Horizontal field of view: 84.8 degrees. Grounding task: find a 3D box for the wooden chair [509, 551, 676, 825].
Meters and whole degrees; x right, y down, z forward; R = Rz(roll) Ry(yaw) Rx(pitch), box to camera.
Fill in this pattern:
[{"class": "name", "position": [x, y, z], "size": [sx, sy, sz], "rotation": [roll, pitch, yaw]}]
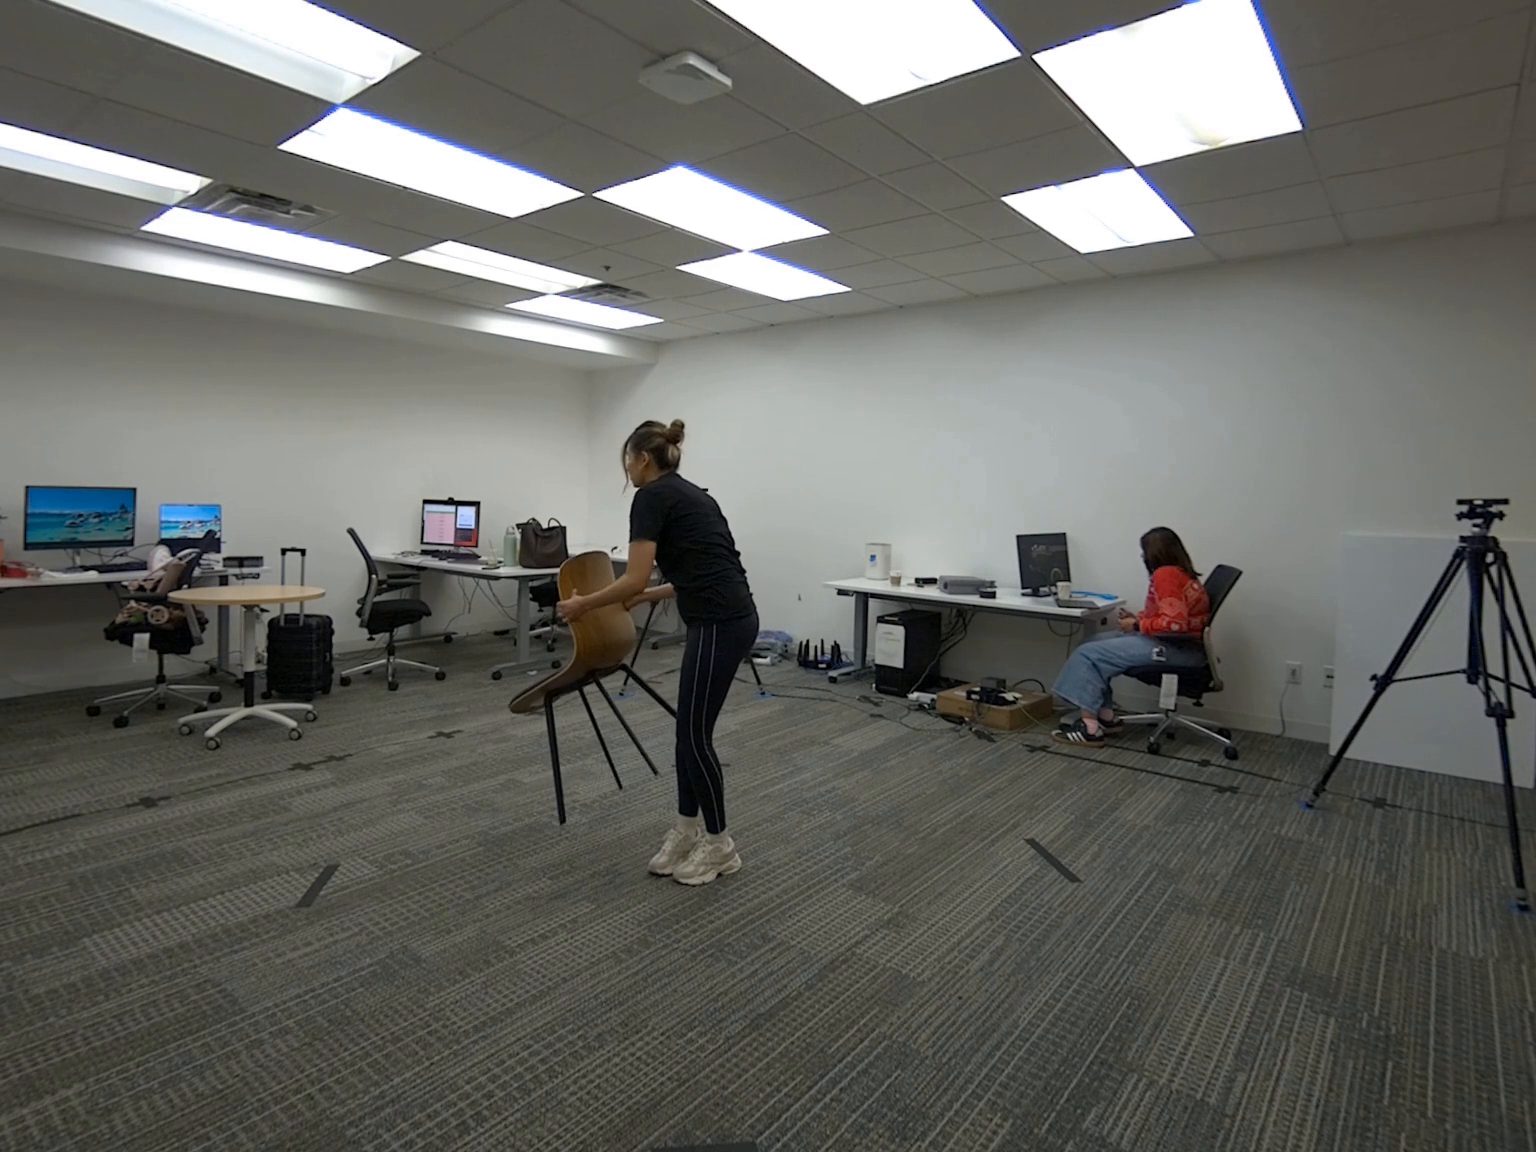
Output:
[{"class": "wooden chair", "position": [-0.717, 0.409, 3.269], "size": [0.528, 0.887, 0.469], "rotation": [-28, -8, 20]}]
